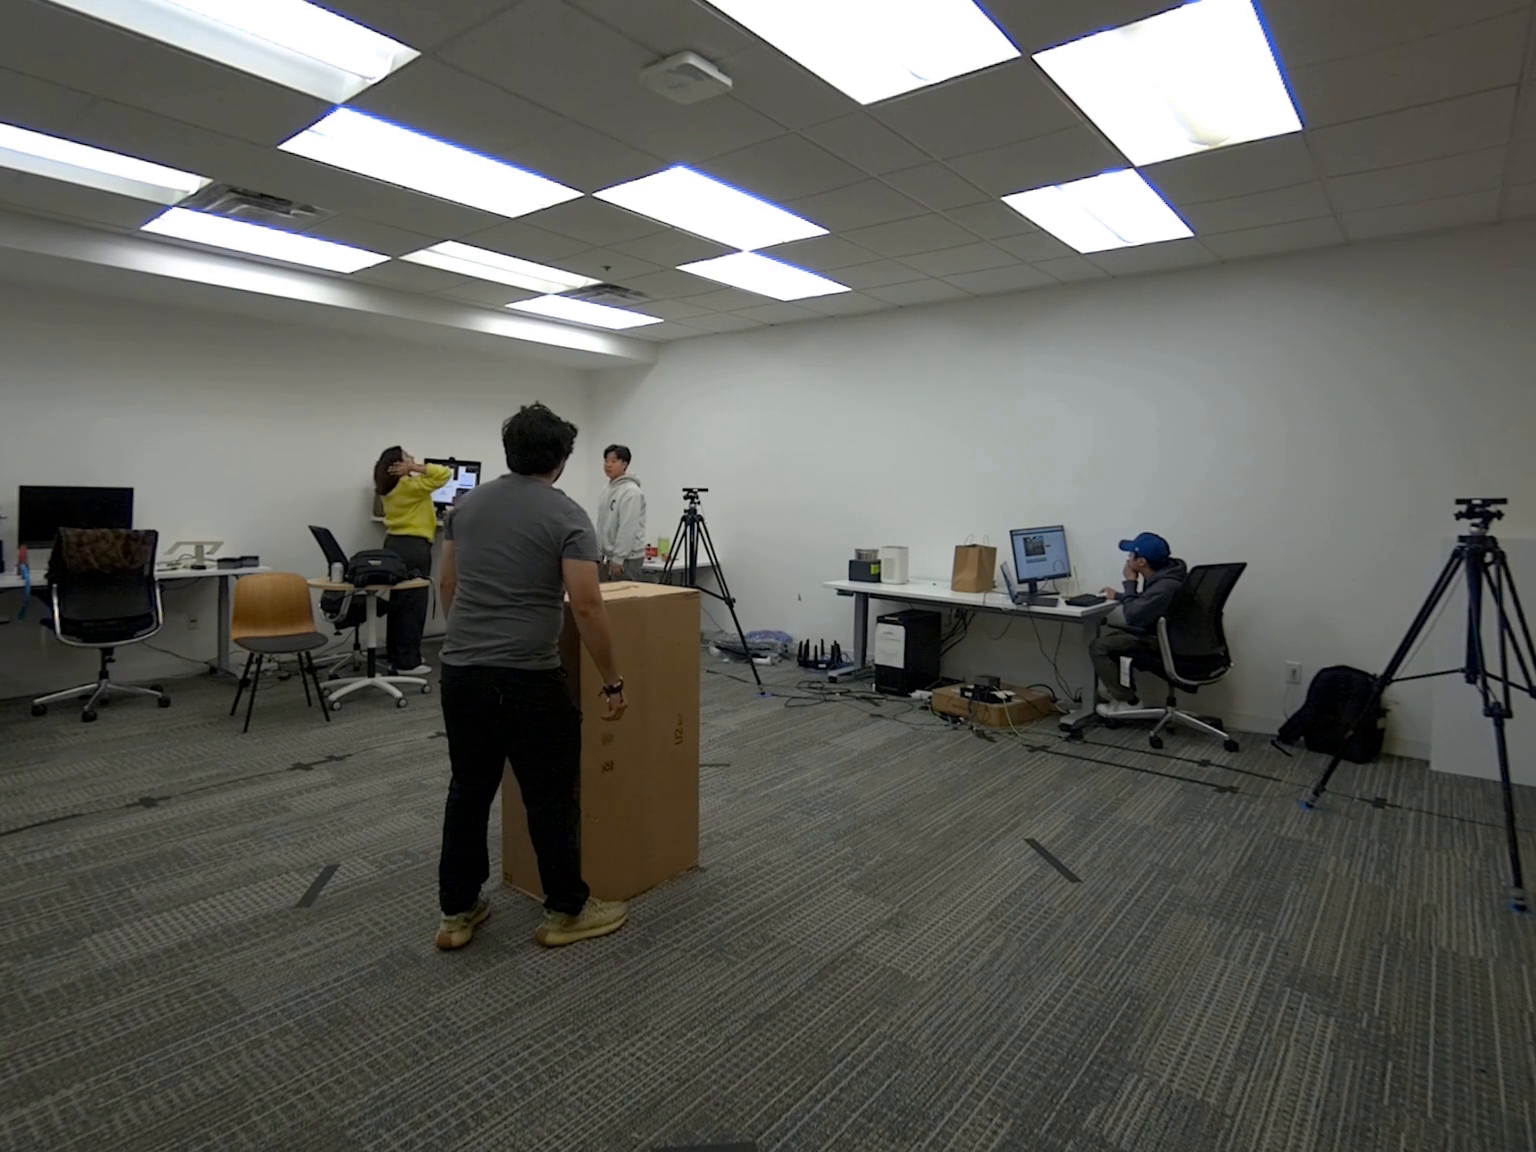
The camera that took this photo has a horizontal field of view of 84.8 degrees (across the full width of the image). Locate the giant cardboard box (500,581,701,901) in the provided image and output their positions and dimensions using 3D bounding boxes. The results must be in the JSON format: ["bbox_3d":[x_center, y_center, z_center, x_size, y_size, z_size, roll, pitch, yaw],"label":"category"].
[{"bbox_3d":[-0.597,0.566,3.040,0.462,1.024,0.567,4,4,38],"label":"giant cardboard box"}]
